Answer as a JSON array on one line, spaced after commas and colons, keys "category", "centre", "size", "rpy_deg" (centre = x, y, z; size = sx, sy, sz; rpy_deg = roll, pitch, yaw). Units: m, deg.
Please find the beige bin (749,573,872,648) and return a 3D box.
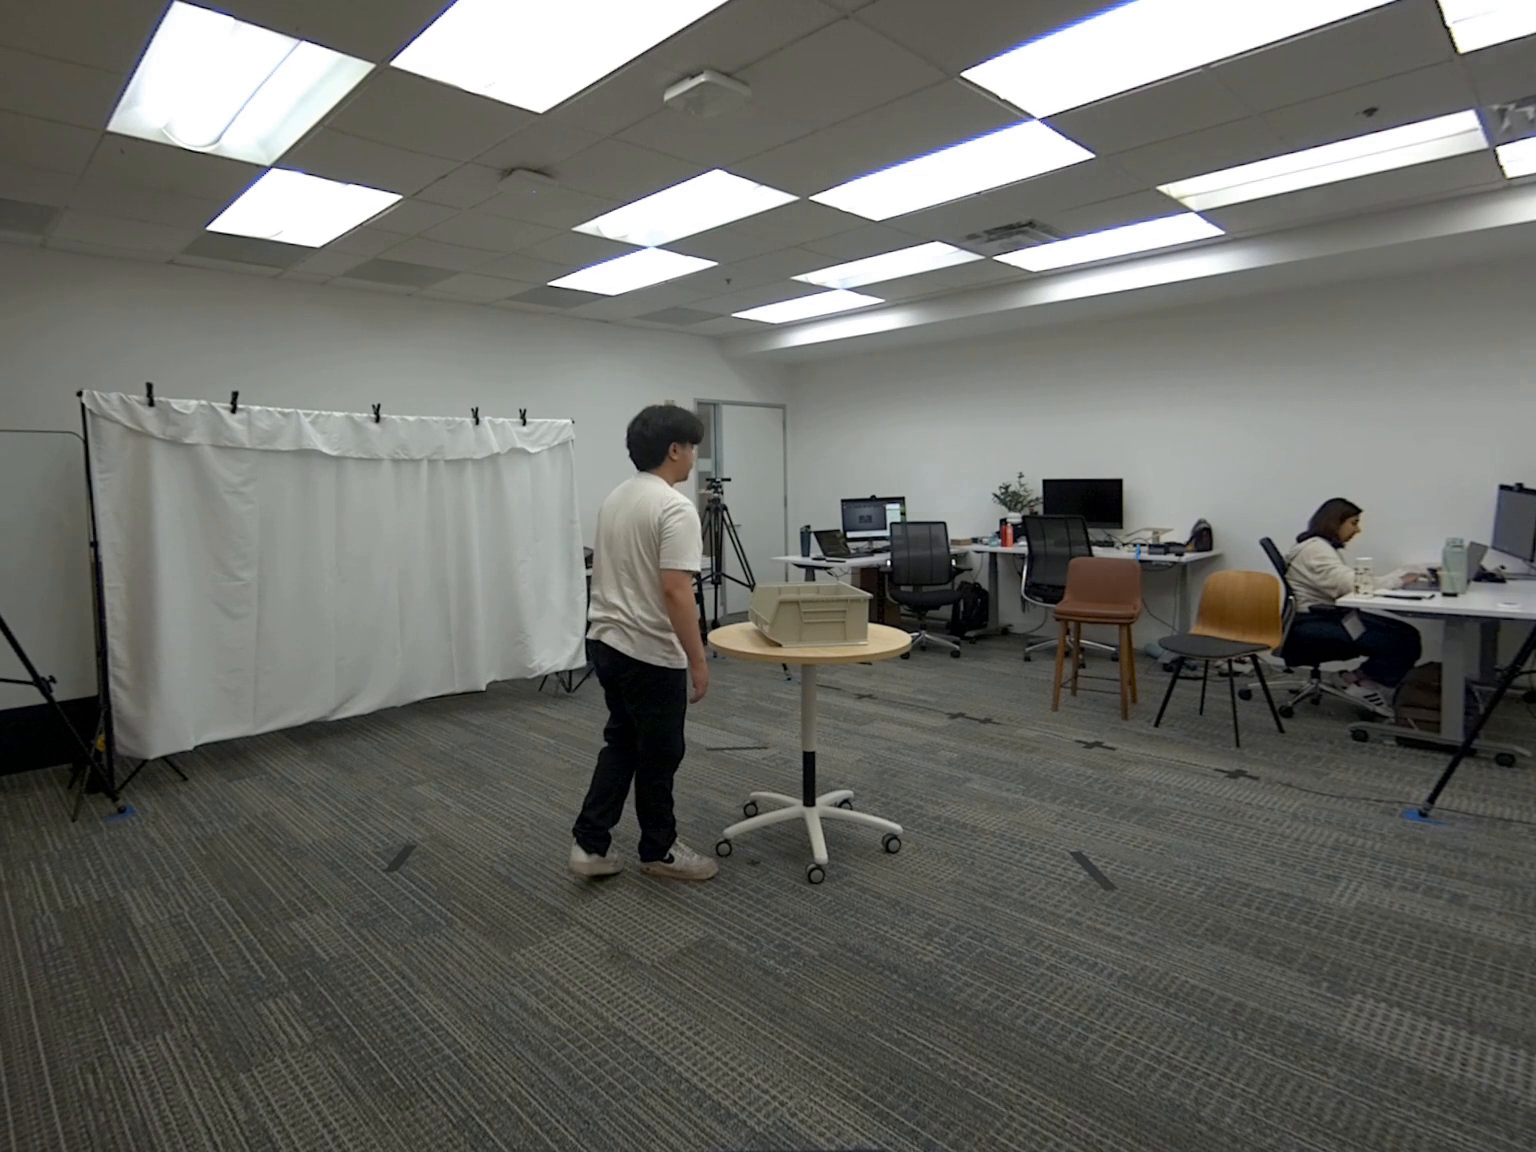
[{"category": "beige bin", "centre": [0.142, 0.138, 3.219], "size": [0.374, 0.188, 0.428], "rpy_deg": [0, 6, -10]}]
